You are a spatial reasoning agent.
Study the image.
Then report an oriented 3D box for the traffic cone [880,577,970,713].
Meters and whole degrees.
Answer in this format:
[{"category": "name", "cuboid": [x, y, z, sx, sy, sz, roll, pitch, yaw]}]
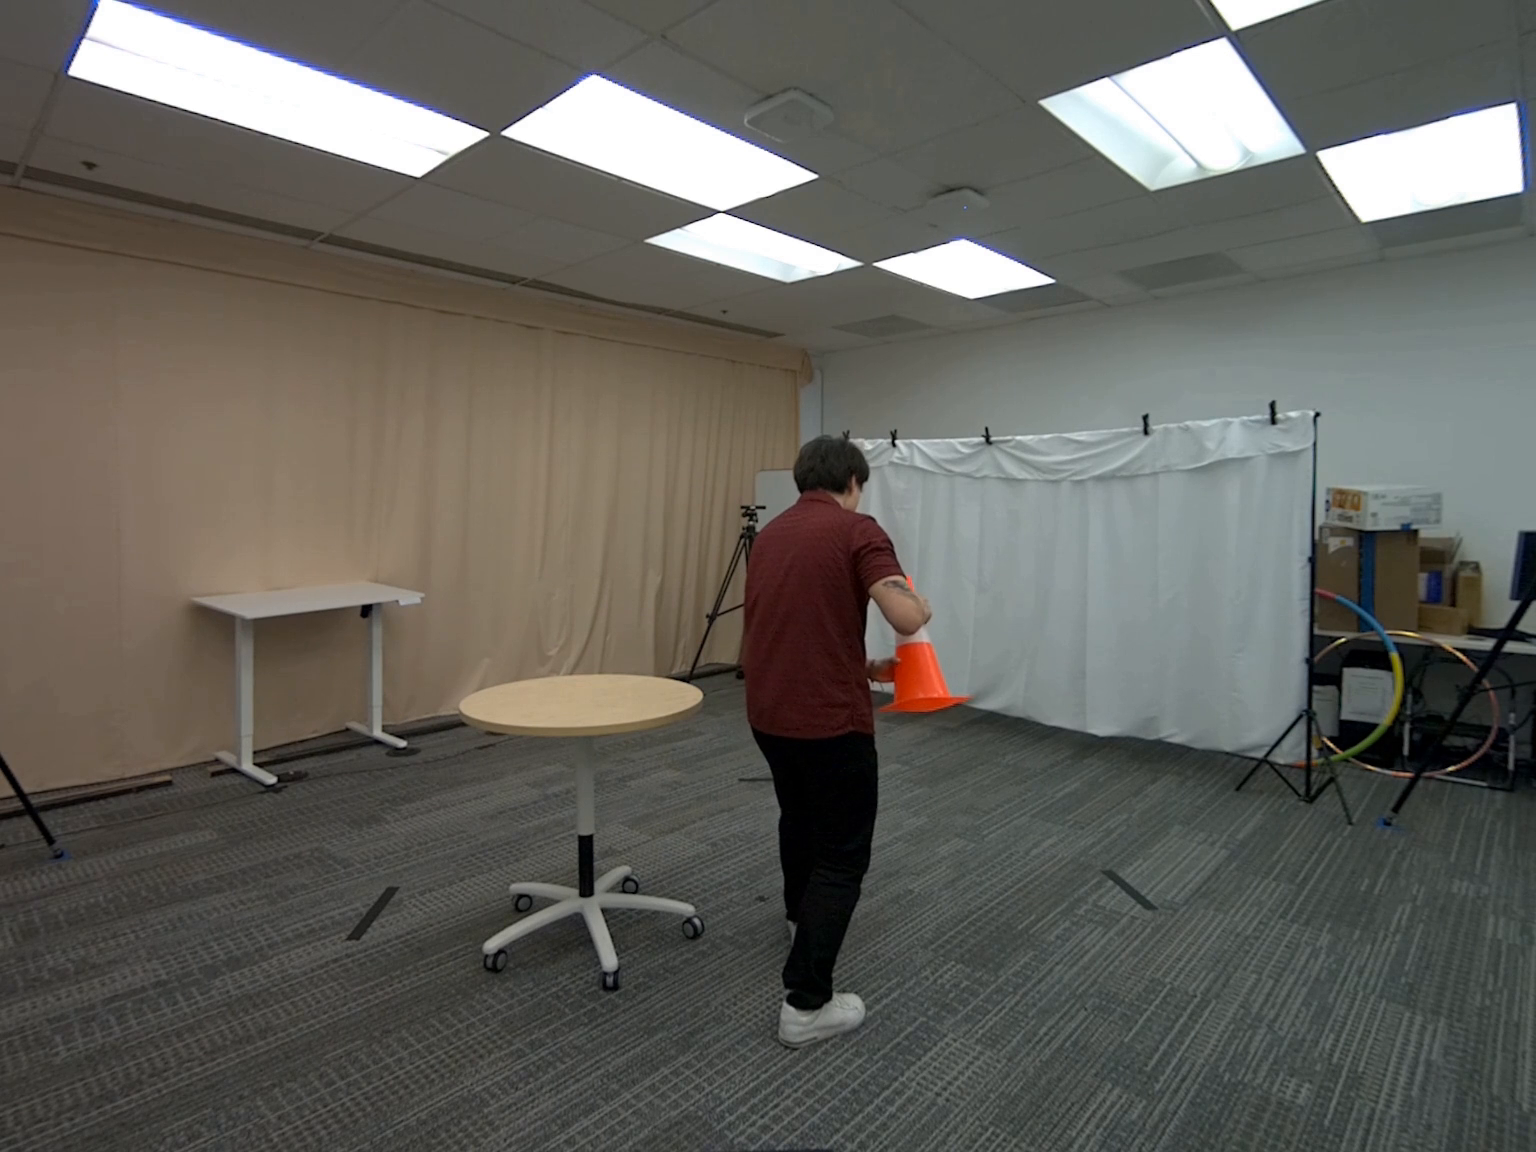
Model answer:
[{"category": "traffic cone", "cuboid": [0.421, 0.185, 2.422, 0.199, 0.389, 0.206, 6, -23, -29]}]
